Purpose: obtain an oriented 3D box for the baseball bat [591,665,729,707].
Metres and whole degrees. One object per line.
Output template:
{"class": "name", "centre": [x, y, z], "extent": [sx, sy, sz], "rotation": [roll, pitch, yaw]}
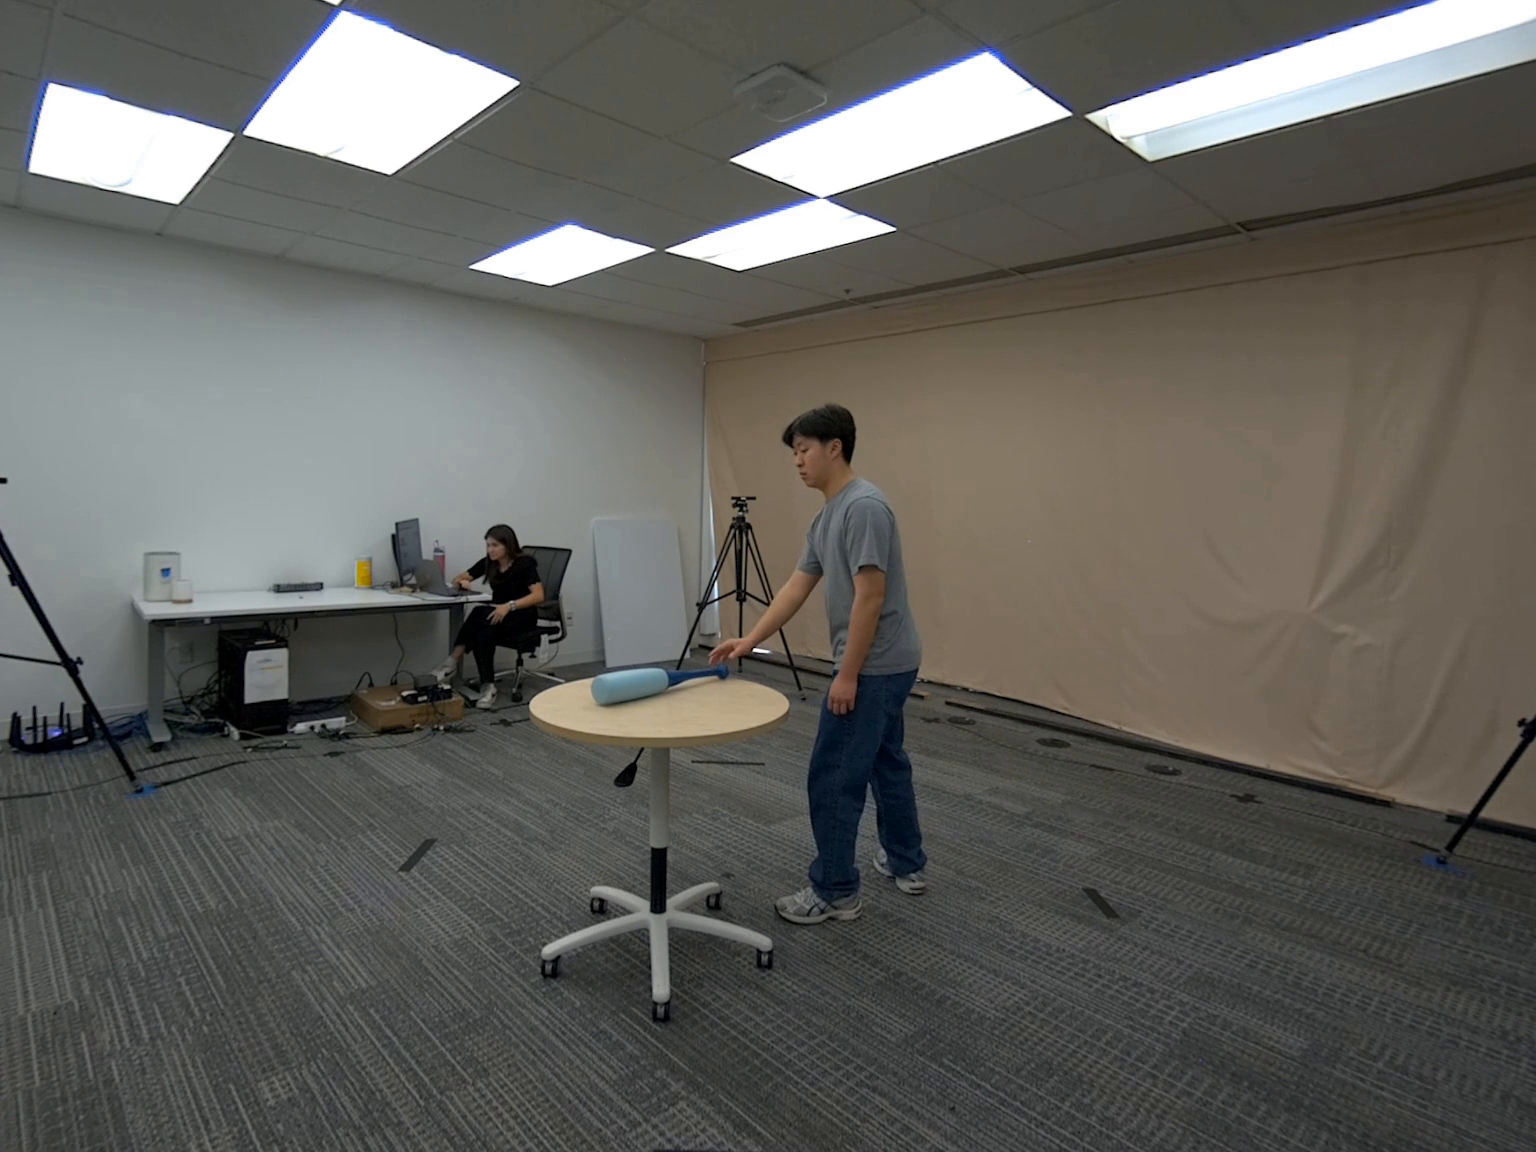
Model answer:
{"class": "baseball bat", "centre": [-0.324, 0.326, 2.627], "extent": [0.091, 0.089, 0.530], "rotation": [5, 4, 39]}
